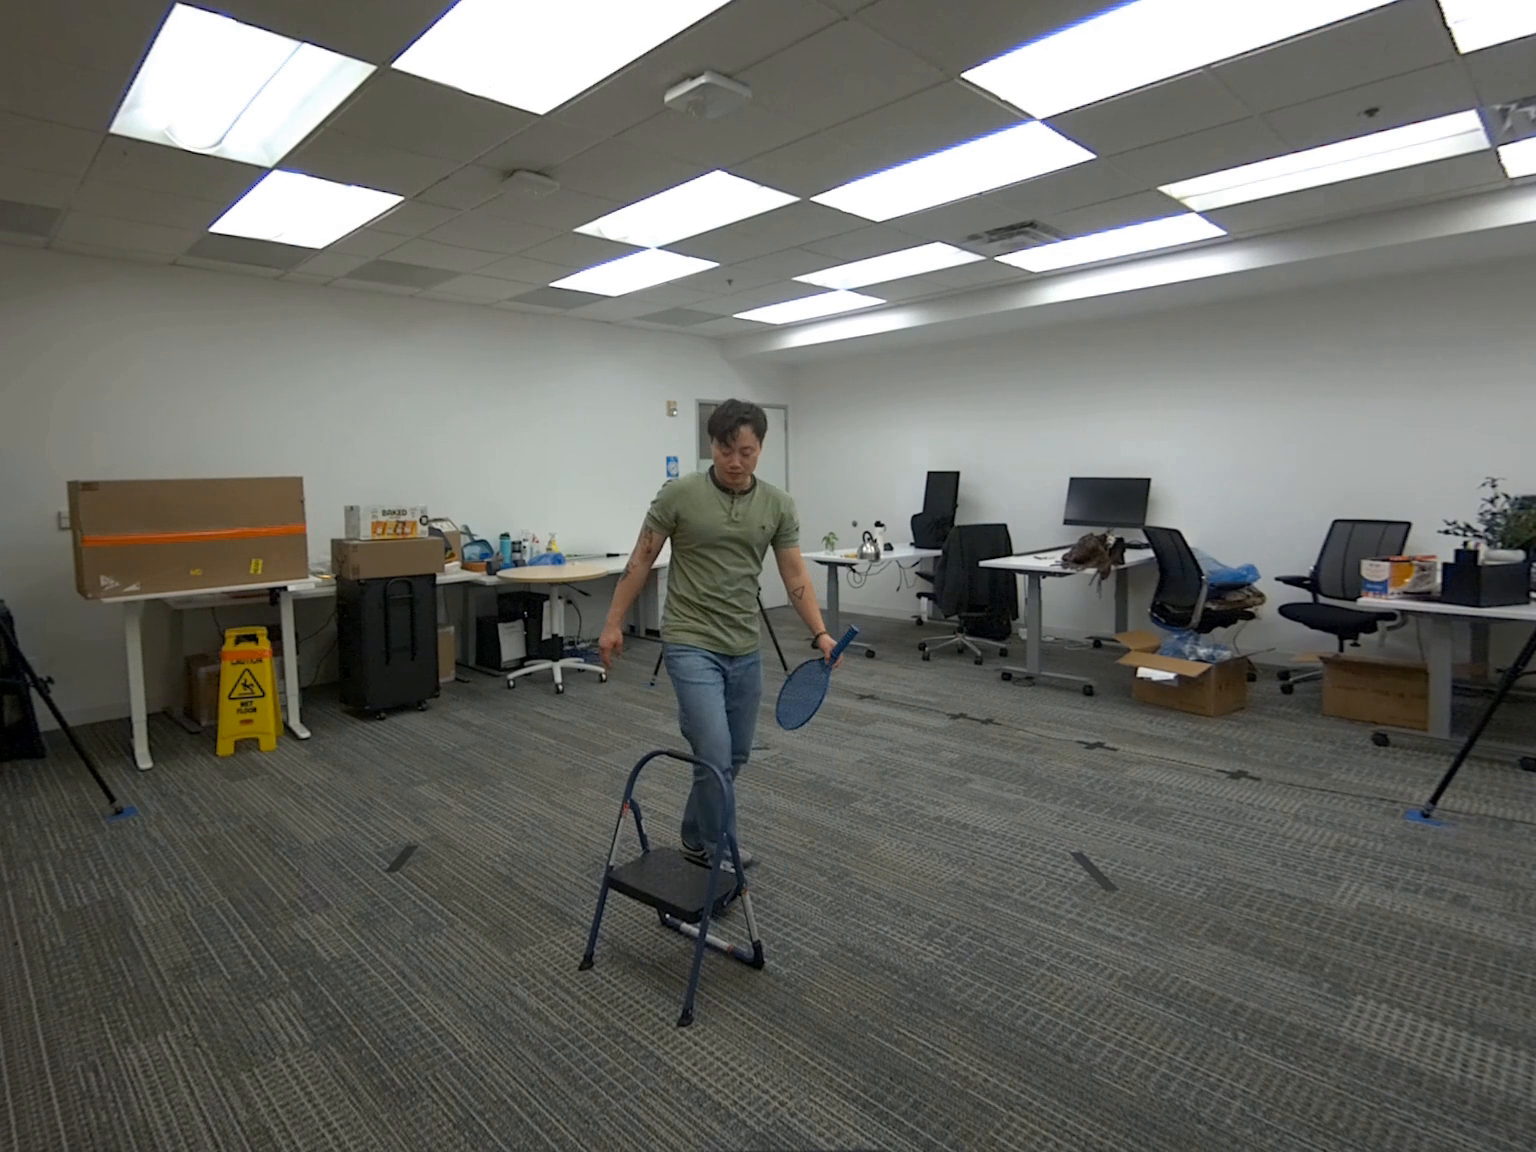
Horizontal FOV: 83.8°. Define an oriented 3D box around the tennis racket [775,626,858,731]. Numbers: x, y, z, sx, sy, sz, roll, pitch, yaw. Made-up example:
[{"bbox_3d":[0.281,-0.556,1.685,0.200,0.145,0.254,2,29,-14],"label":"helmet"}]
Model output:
[{"bbox_3d":[0.156,0.340,2.848,0.031,0.432,0.221,26,22,-32],"label":"tennis racket"}]
